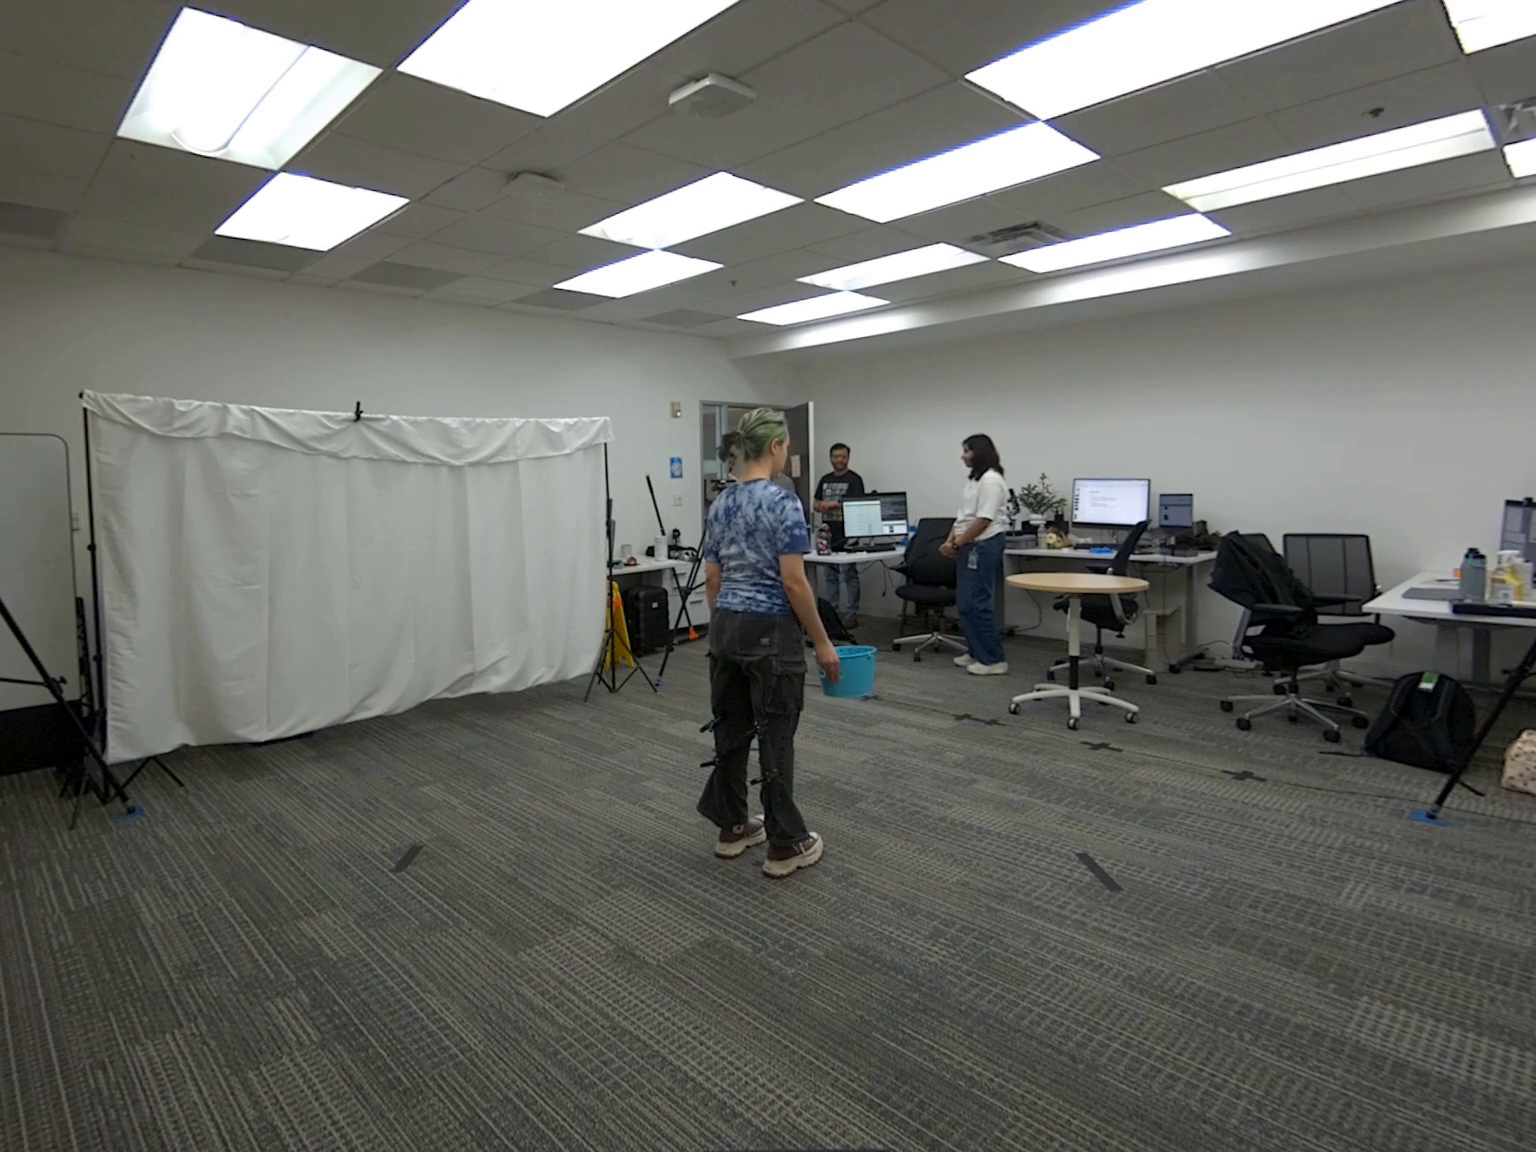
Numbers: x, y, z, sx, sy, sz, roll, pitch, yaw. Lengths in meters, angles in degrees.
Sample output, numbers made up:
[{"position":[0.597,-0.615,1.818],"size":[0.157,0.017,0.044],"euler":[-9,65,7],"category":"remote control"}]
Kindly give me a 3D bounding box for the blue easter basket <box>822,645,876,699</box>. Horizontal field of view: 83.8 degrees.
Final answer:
[{"position":[0.277,0.357,3.112],"size":[0.243,0.155,0.244],"euler":[-5,4,-1],"category":"blue easter basket"}]
